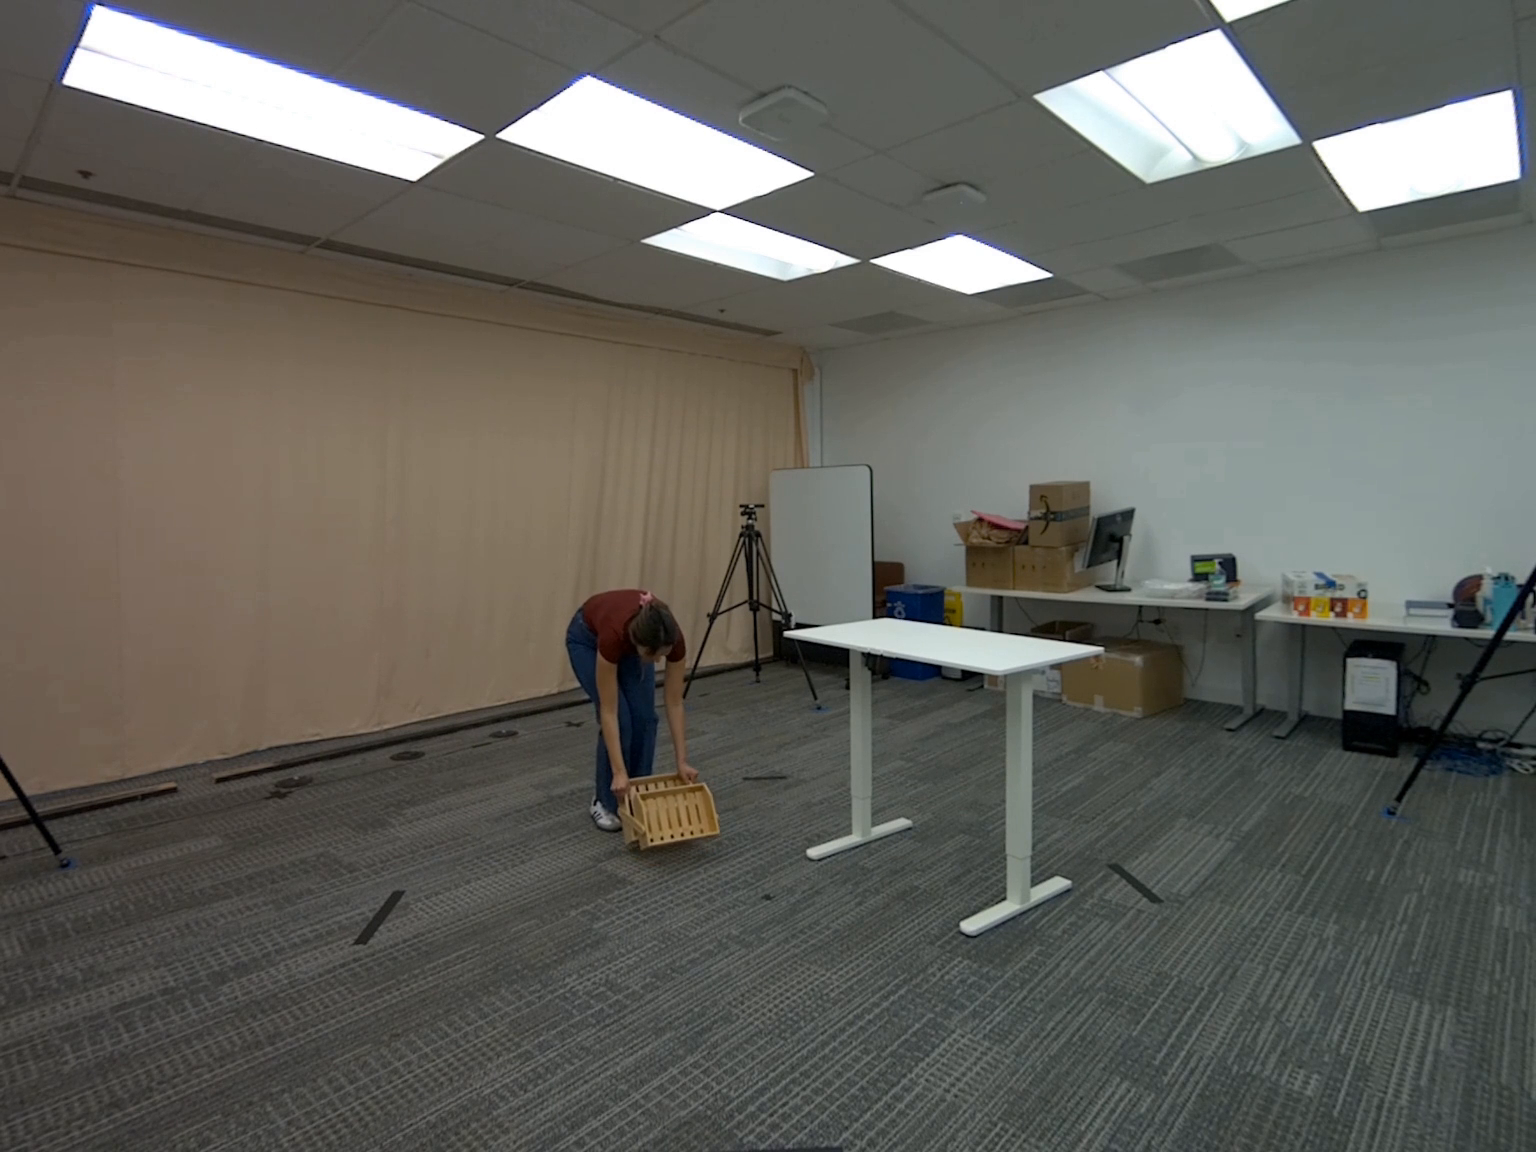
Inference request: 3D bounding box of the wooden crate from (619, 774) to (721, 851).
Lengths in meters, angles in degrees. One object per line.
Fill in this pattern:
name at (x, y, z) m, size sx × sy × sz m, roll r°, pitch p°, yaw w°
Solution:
wooden crate at (-0.406, 0.923, 3.387) m, size 0.316 × 0.308 × 0.275 m, roll -2°, pitch -26°, yaw -28°
